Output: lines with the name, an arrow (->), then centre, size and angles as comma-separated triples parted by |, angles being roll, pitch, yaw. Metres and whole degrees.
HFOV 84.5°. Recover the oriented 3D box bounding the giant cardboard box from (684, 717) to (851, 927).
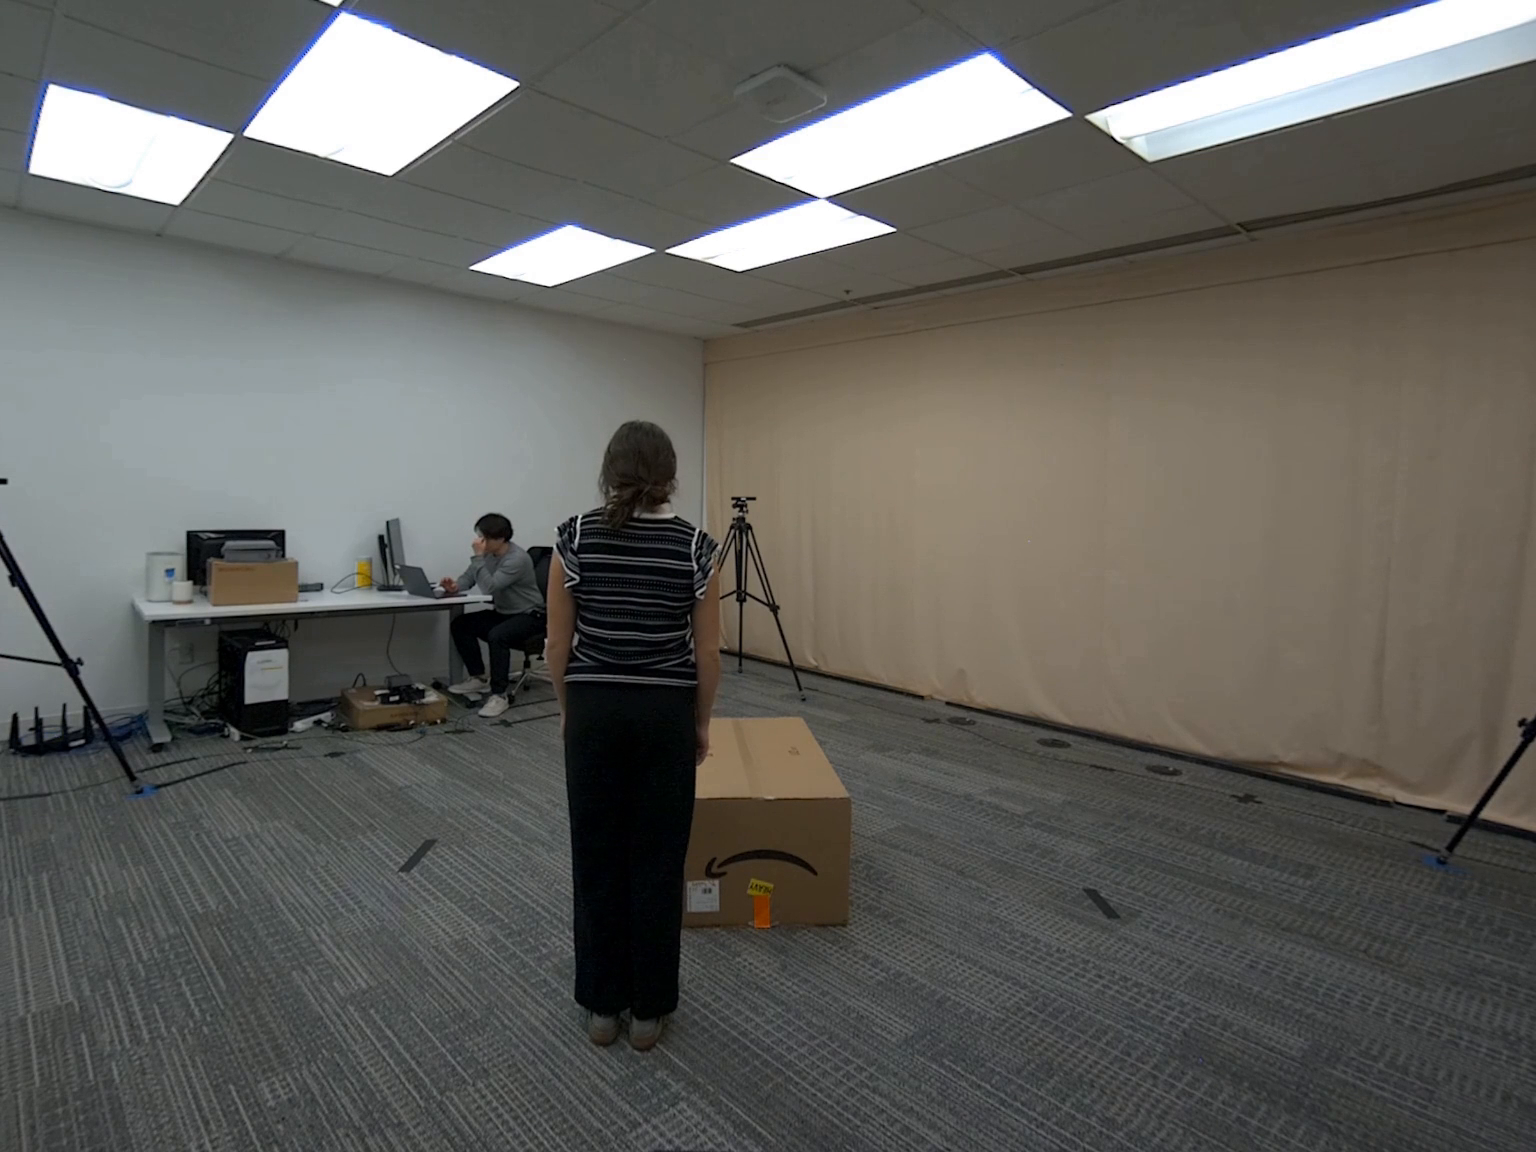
giant cardboard box -> -0.080, 0.884, 3.230 | 0.575, 0.425, 1.033 | 1, 5, -6
